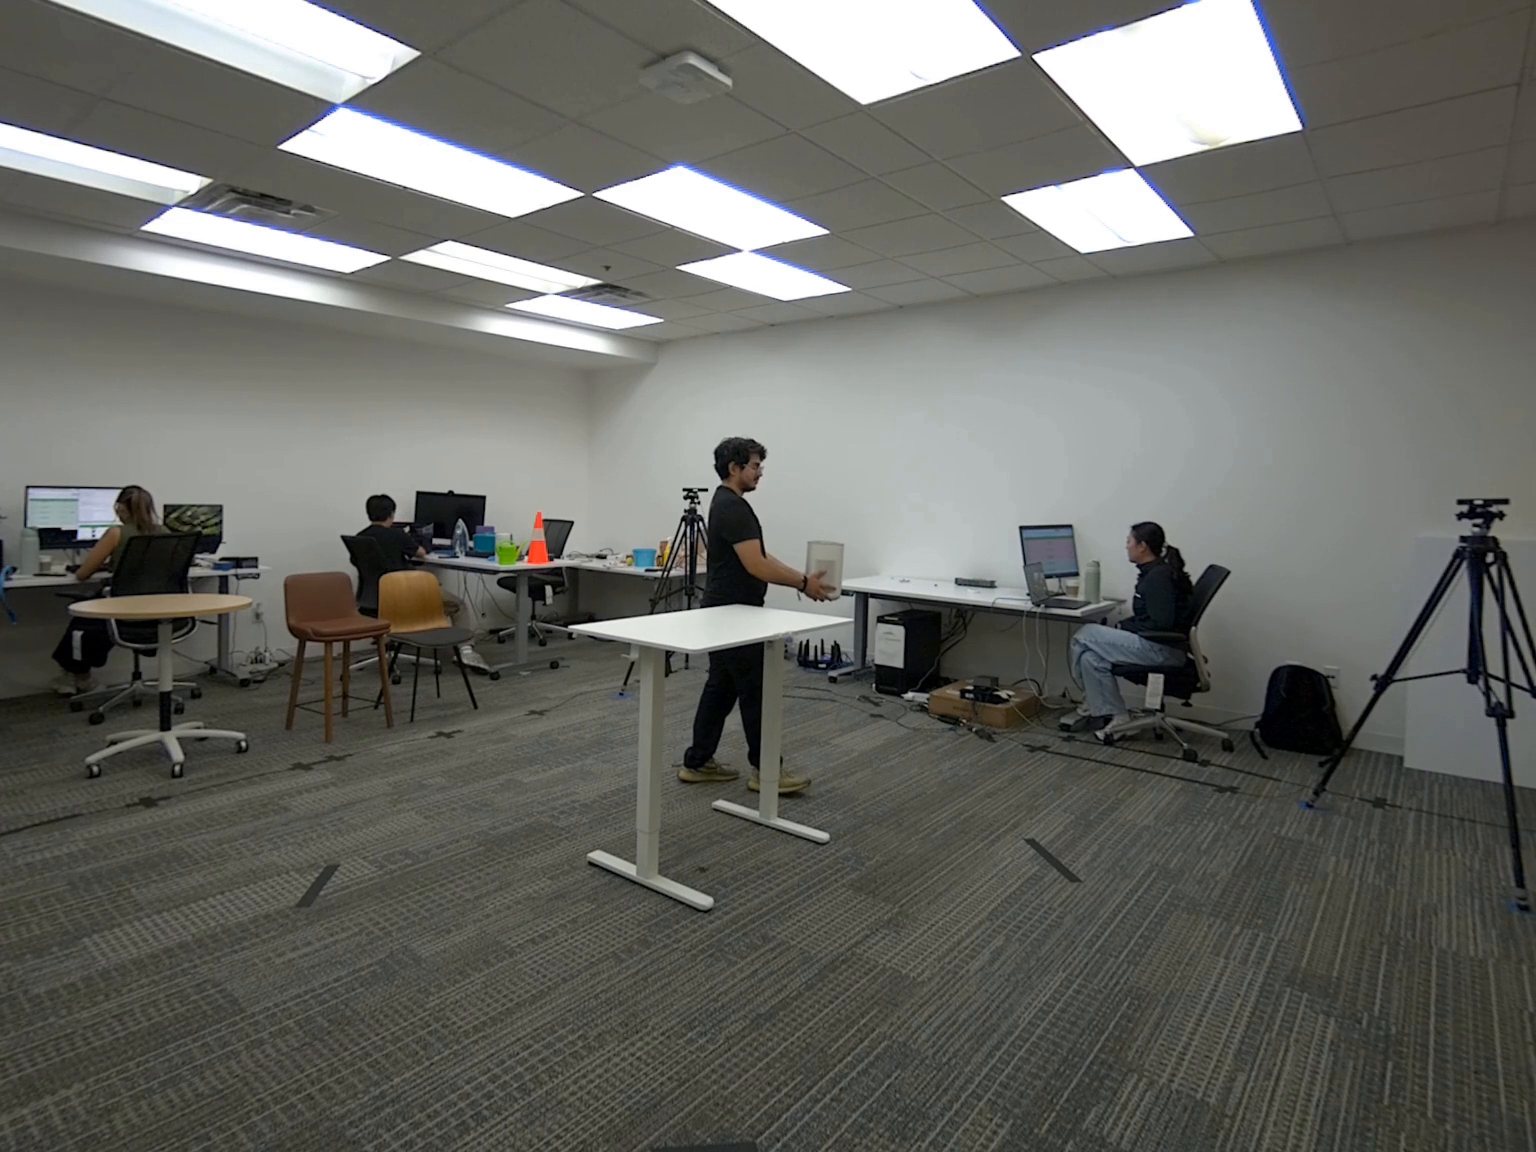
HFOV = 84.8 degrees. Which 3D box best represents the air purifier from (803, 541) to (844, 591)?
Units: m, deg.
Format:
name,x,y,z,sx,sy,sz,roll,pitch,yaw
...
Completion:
name,x,y,z,sx,sy,sz,roll,pitch,yaw
air purifier,0.251,-0.032,3.994,0.172,0.264,0.171,2,4,0
